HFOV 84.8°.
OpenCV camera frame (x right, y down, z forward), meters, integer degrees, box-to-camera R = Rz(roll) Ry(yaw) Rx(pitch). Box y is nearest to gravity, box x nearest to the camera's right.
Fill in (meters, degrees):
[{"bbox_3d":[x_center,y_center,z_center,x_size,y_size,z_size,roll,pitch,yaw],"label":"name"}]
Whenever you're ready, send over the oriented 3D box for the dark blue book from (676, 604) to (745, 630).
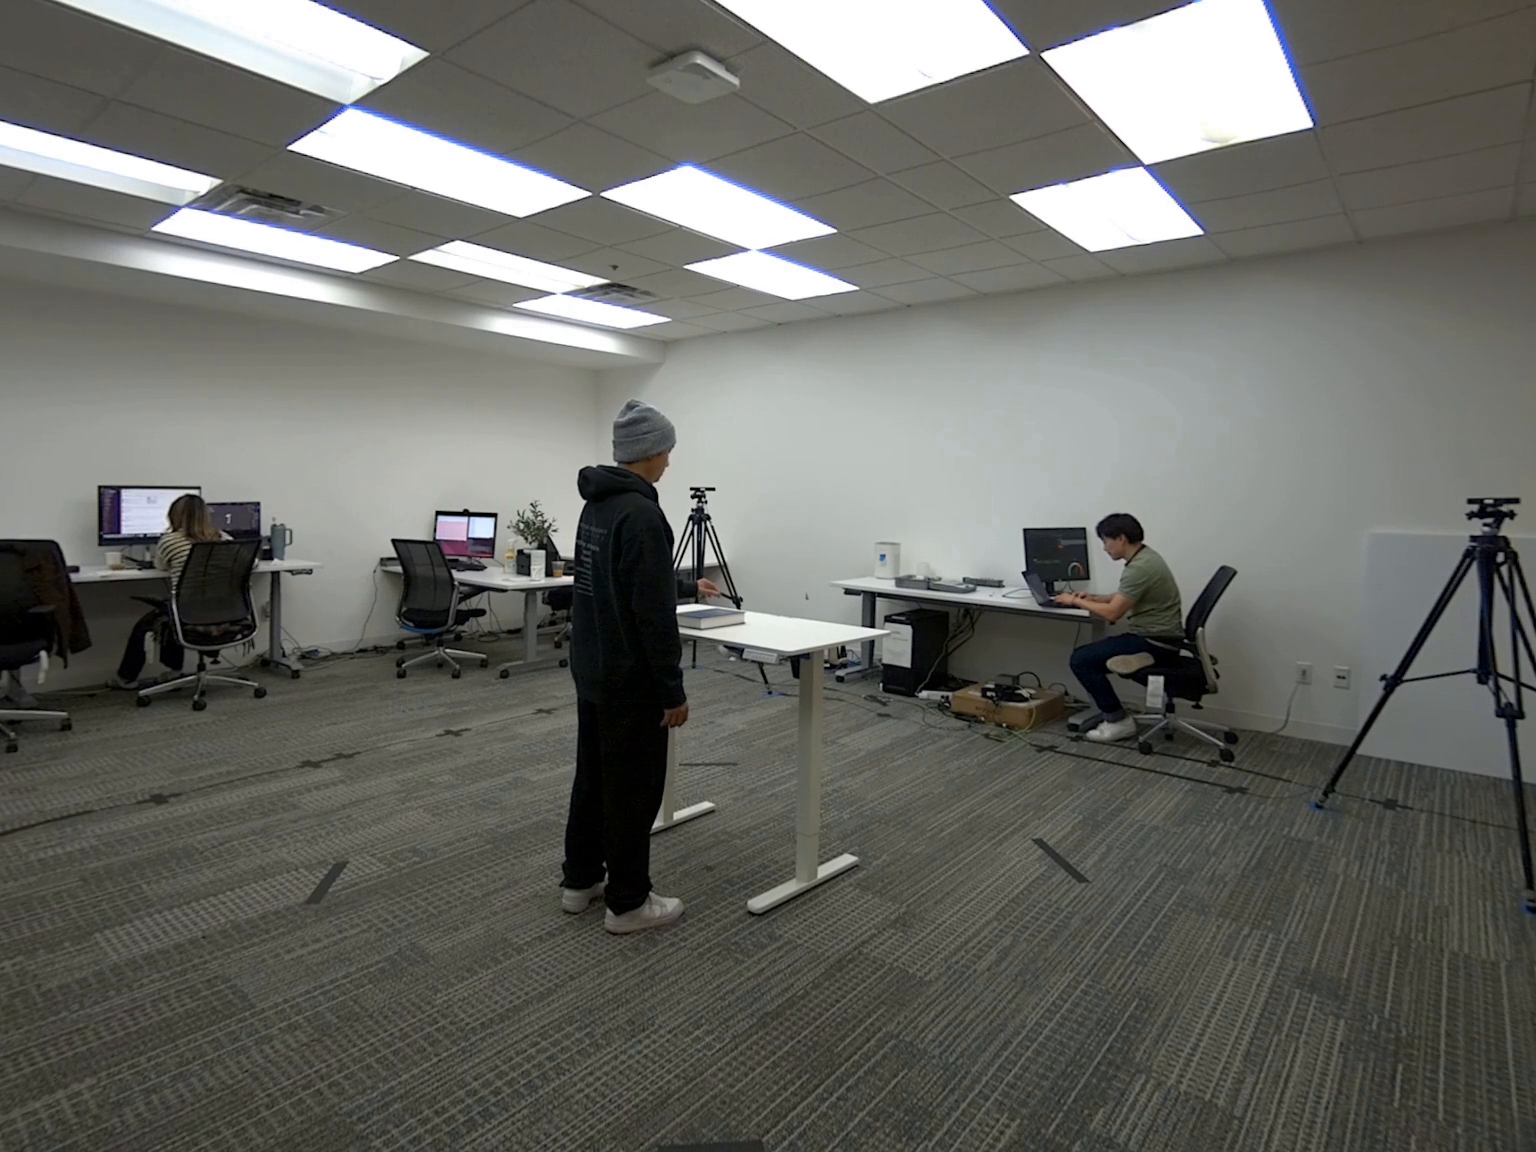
[{"bbox_3d":[-0.228,0.156,3.170,0.169,0.045,0.238,5,6,40],"label":"dark blue book"}]
